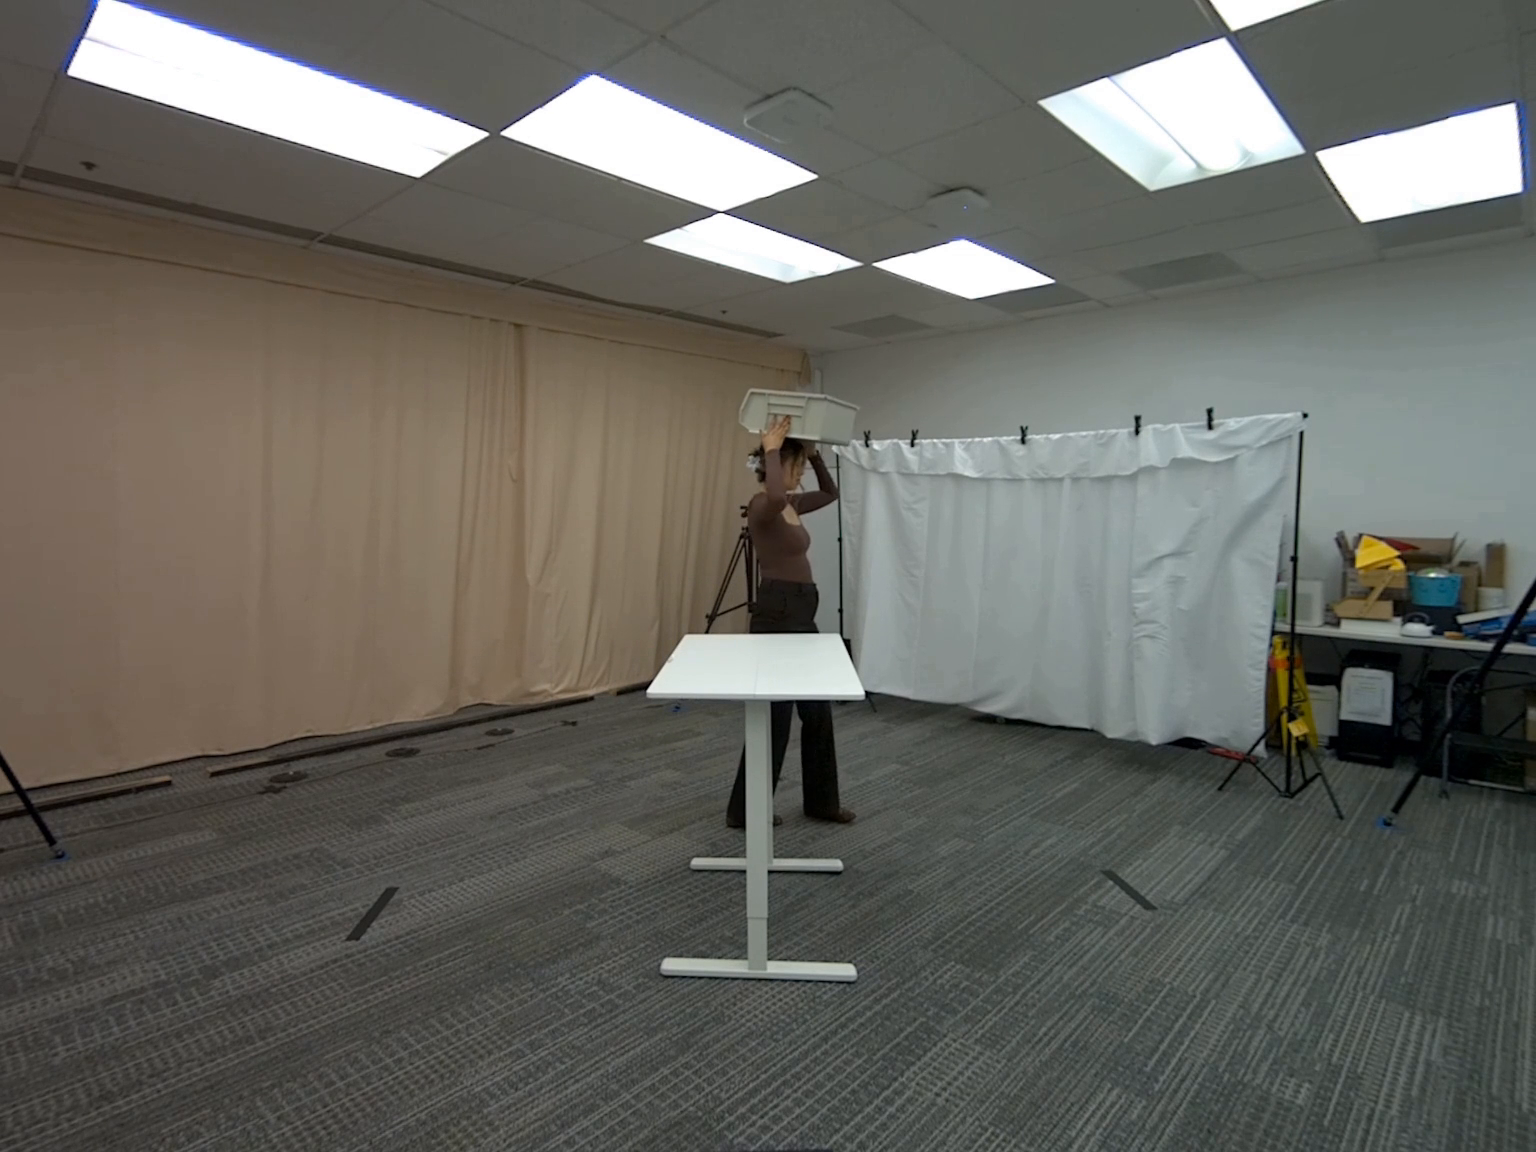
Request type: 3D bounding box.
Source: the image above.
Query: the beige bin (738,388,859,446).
[{"bbox_3d":[0.134,-0.676,3.610,0.387,0.188,0.412,12,8,24],"label":"beige bin"}]
